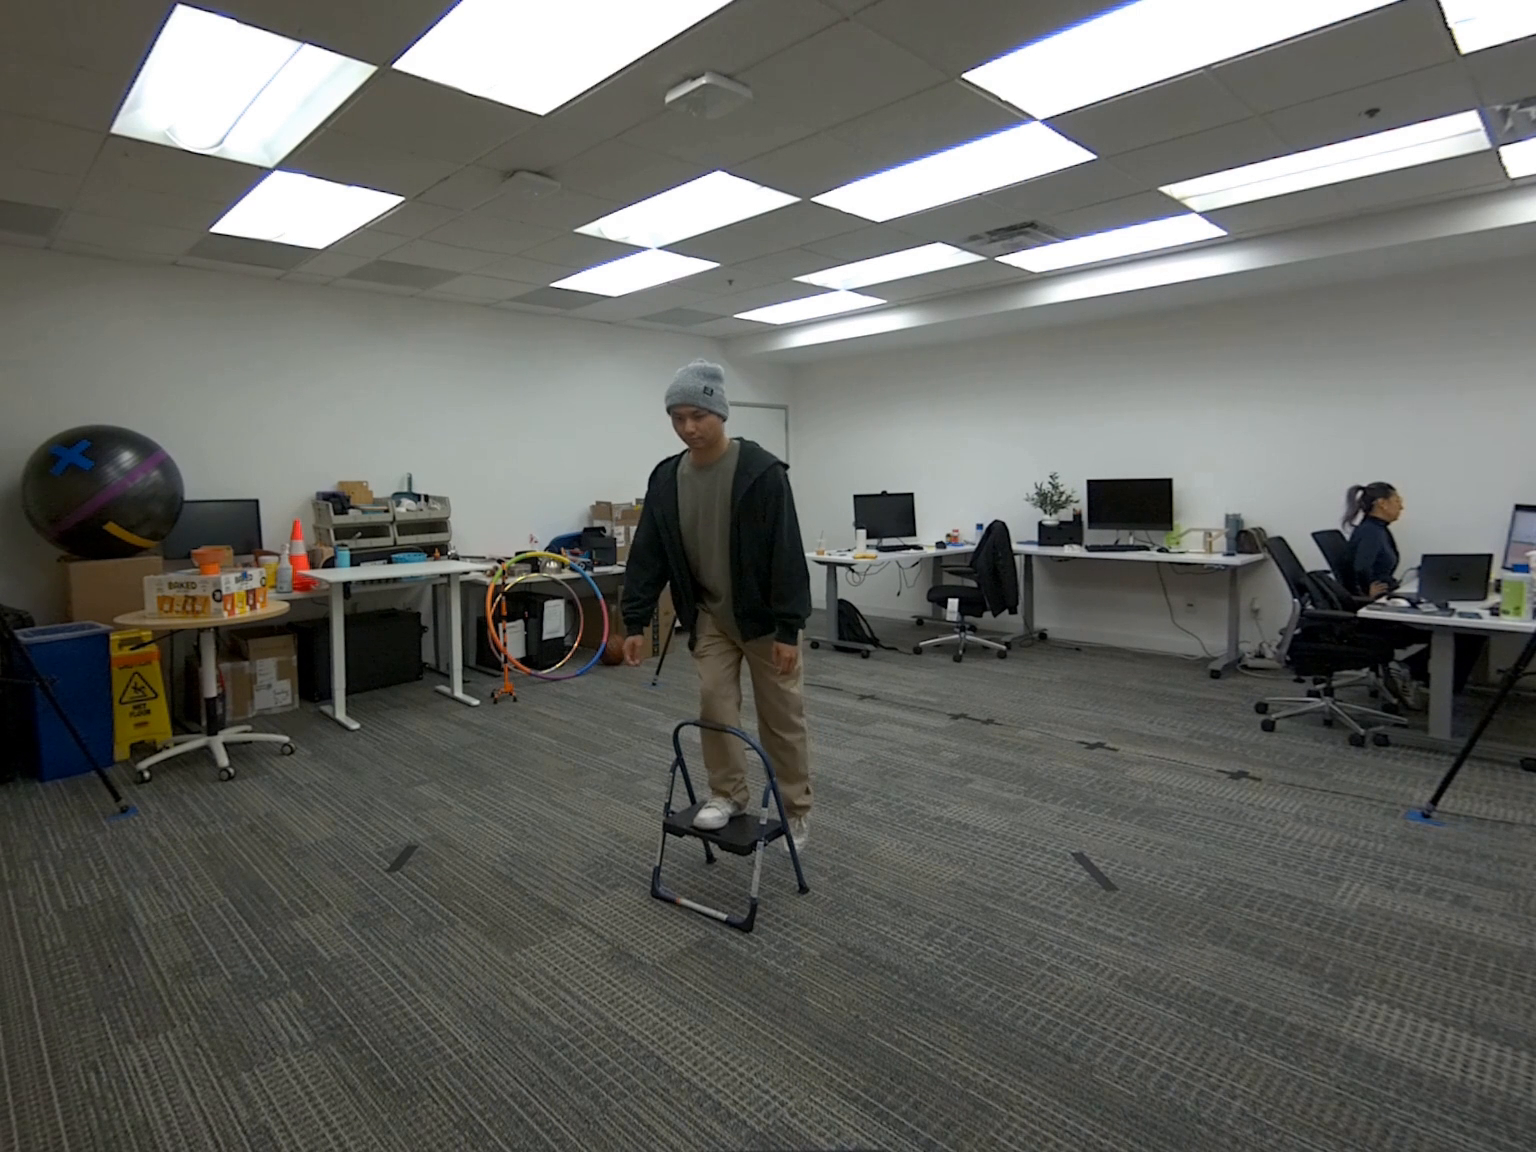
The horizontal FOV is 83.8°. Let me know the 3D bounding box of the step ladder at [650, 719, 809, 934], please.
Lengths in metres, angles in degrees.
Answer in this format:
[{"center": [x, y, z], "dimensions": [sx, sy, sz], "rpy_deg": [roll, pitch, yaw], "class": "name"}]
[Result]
[{"center": [-0.137, 0.775, 2.864], "dimensions": [0.443, 0.604, 0.341], "rpy_deg": [2, 5, 35], "class": "step ladder"}]
